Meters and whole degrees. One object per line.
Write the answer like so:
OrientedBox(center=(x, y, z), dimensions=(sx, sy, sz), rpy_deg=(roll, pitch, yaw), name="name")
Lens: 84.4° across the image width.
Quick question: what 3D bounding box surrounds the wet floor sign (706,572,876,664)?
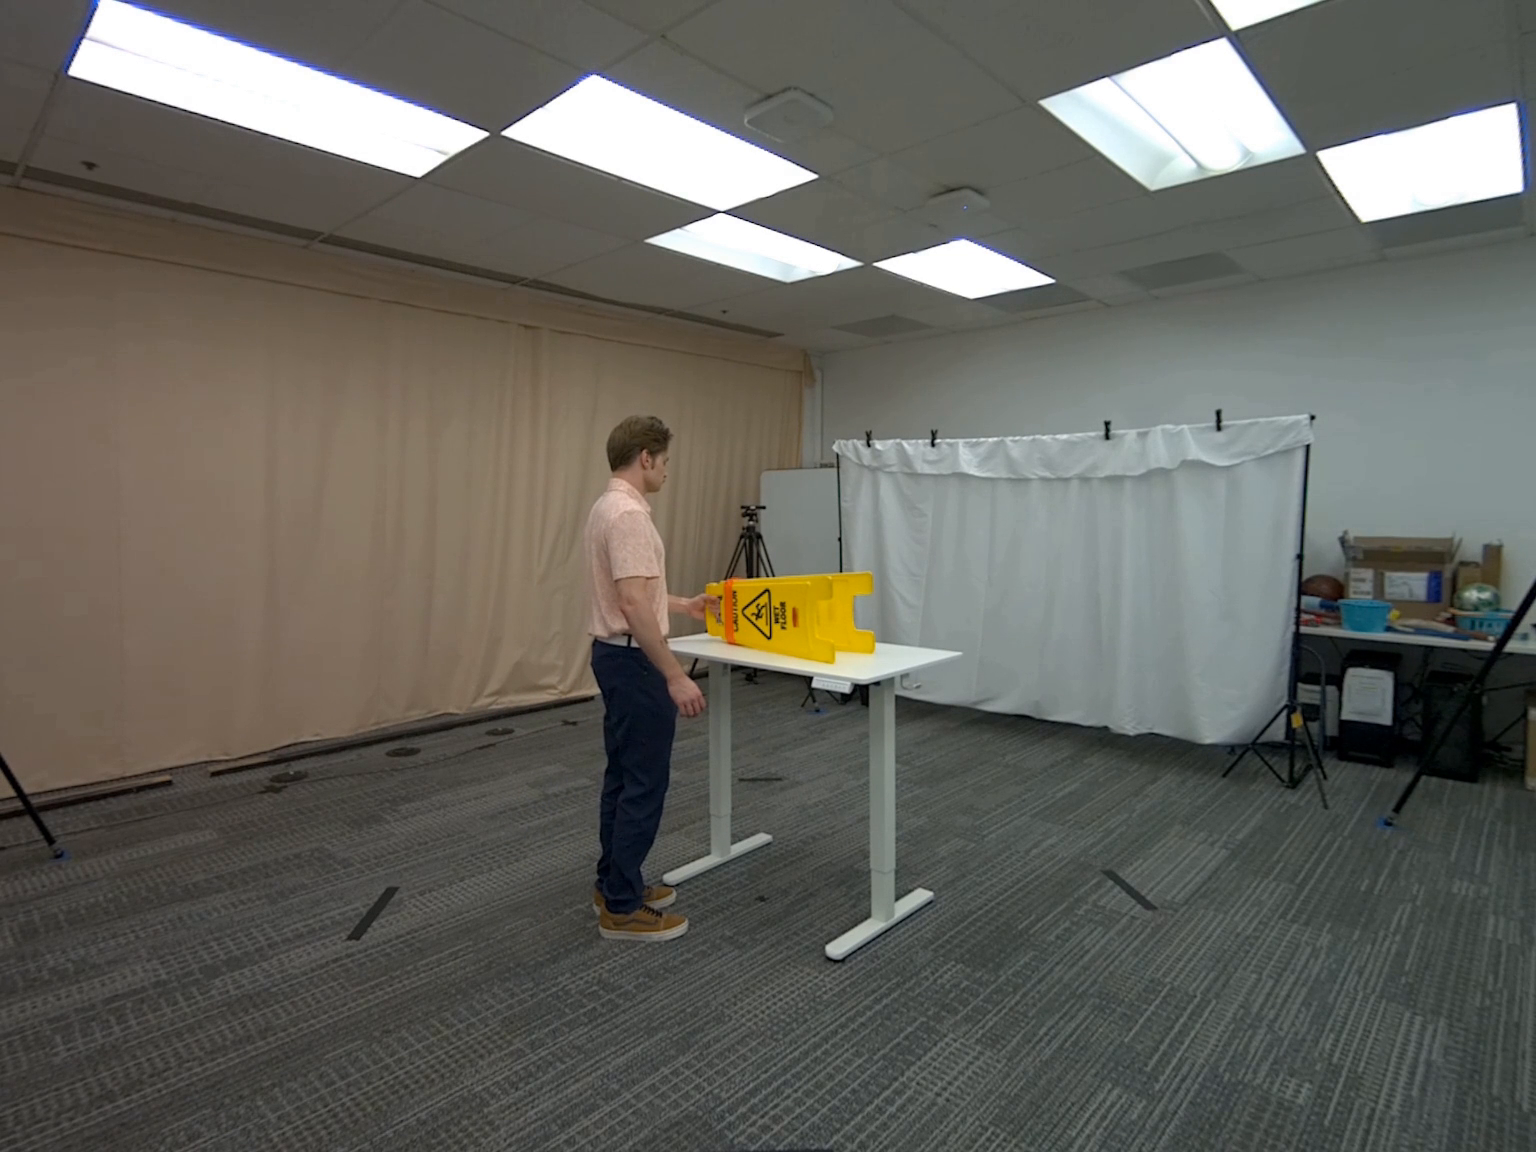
OrientedBox(center=(0.033, 0.135, 2.988), dimensions=(0.667, 0.282, 0.281), rpy_deg=(1, 4, 40), name="wet floor sign")
